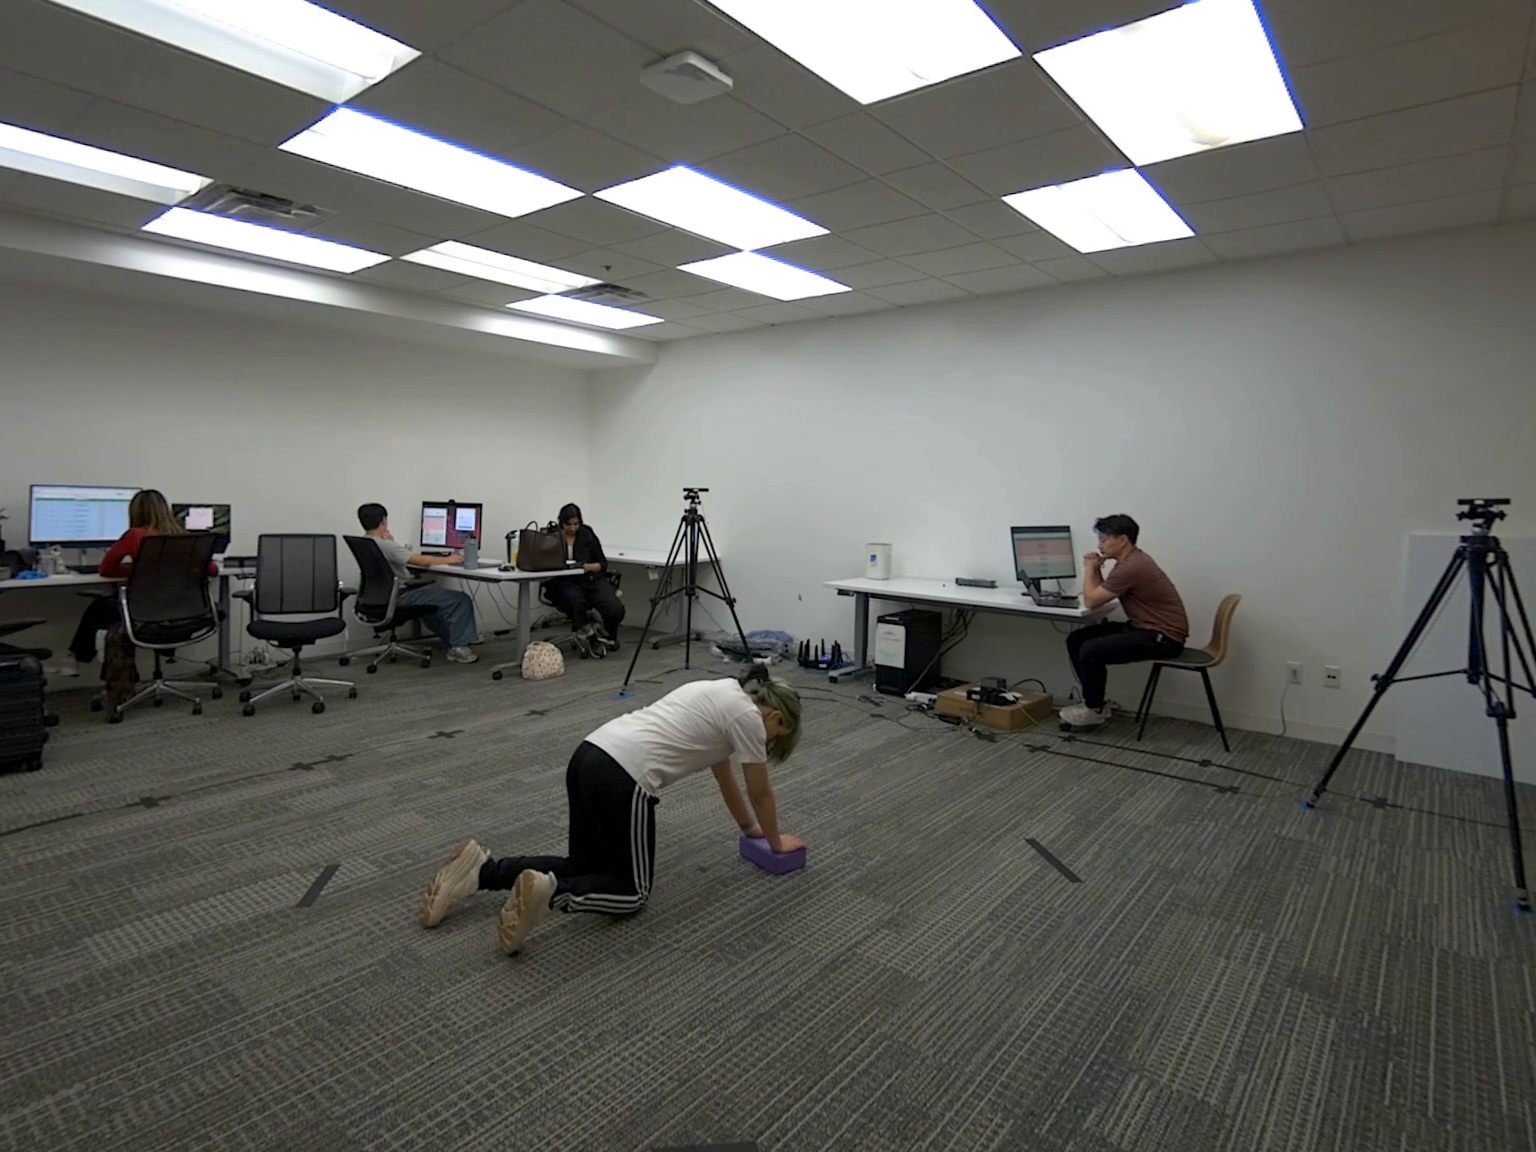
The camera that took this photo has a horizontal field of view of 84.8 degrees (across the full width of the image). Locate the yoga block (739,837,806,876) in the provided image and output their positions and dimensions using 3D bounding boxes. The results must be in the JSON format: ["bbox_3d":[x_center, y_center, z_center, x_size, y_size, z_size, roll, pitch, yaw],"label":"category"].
[{"bbox_3d":[0.006,1.029,3.194,0.144,0.076,0.237,-1,6,-39],"label":"yoga block"}]
